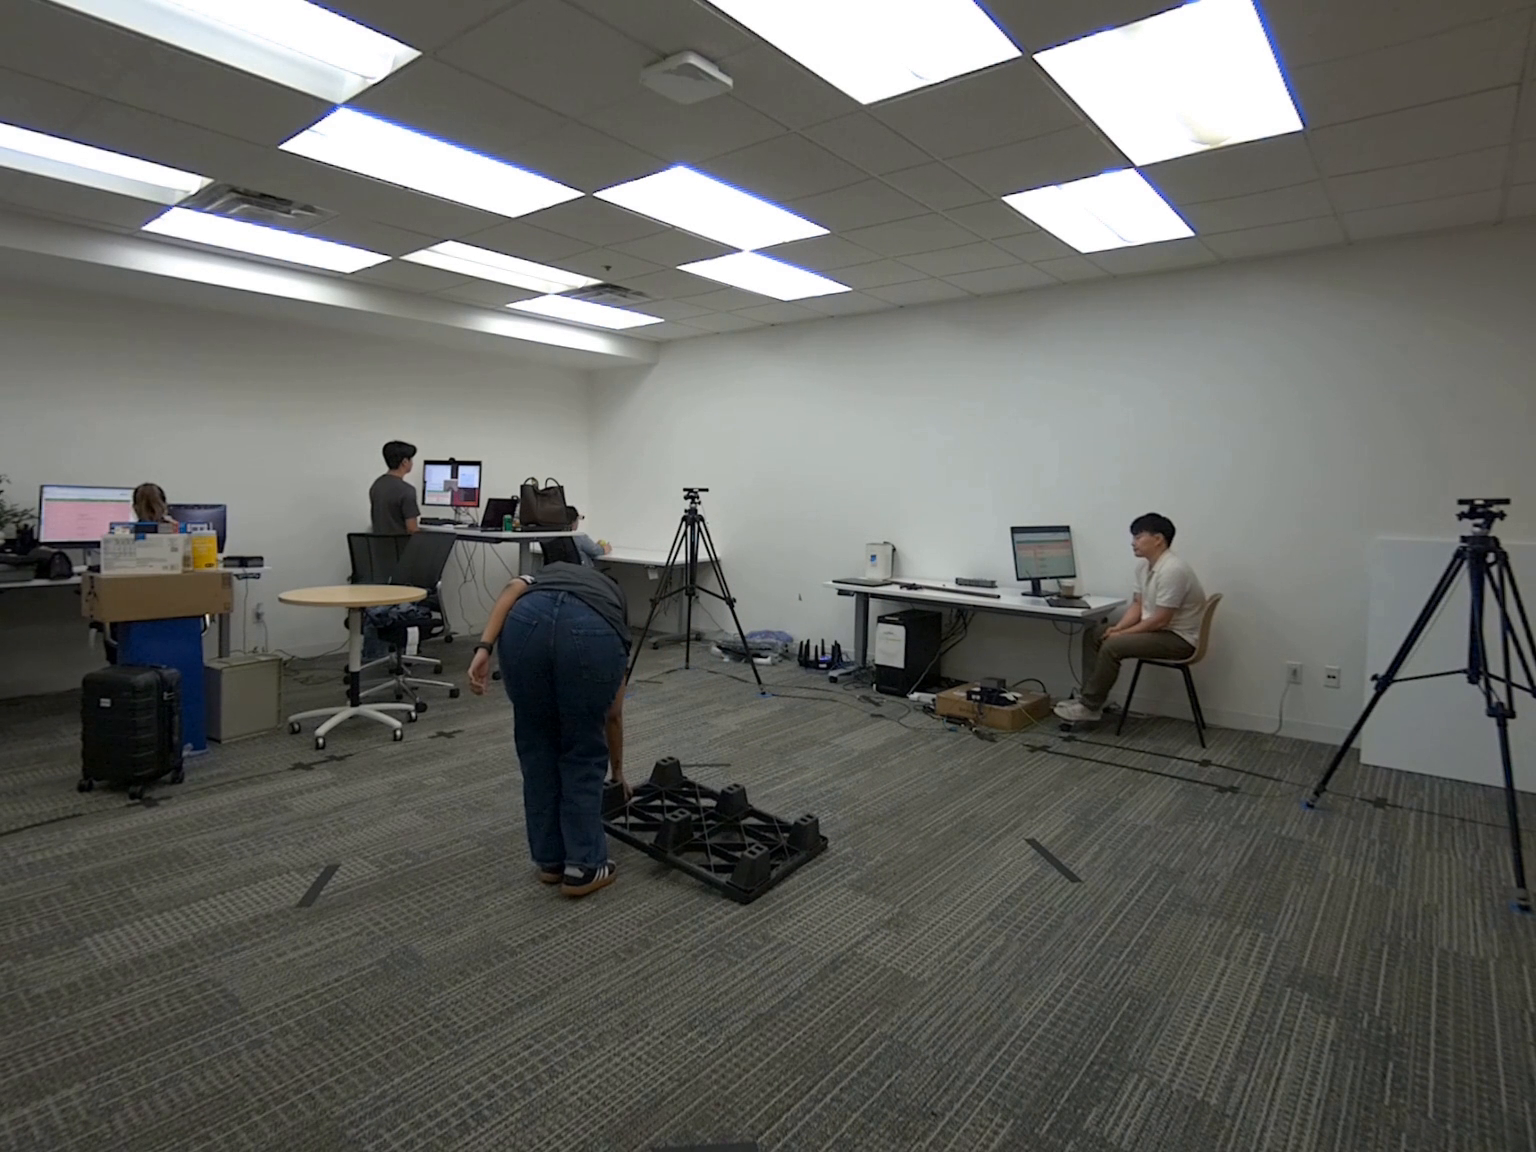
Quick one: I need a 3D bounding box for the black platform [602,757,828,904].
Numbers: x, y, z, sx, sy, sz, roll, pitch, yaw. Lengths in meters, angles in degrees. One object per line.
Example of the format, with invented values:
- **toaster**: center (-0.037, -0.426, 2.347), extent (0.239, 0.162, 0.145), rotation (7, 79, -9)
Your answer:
- **black platform**: center (-0.249, 0.933, 3.294), extent (0.833, 0.142, 0.589), rotation (14, 12, 32)
